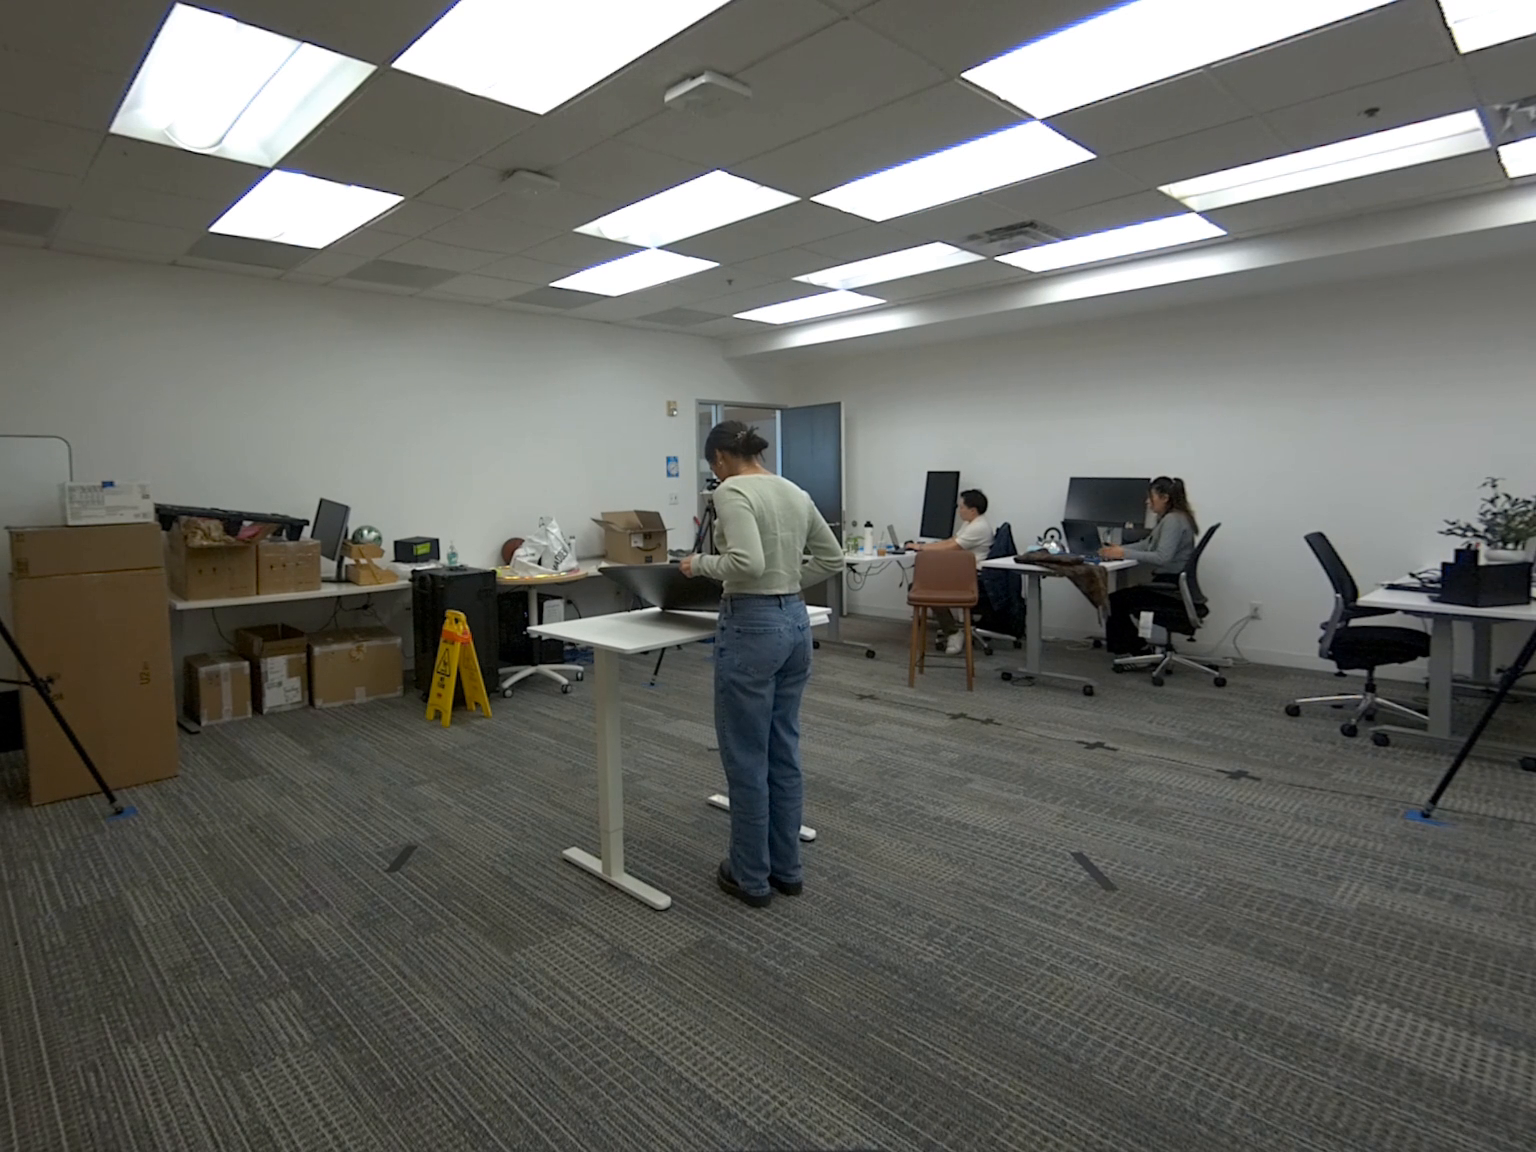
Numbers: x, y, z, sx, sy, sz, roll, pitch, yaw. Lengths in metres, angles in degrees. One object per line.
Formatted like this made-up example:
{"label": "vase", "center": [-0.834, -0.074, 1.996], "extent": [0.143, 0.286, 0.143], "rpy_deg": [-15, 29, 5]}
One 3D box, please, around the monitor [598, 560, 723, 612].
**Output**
{"label": "monitor", "center": [-0.269, 0.019, 3.187], "extent": [0.506, 0.188, 0.553], "rpy_deg": [7, -8, -44]}
